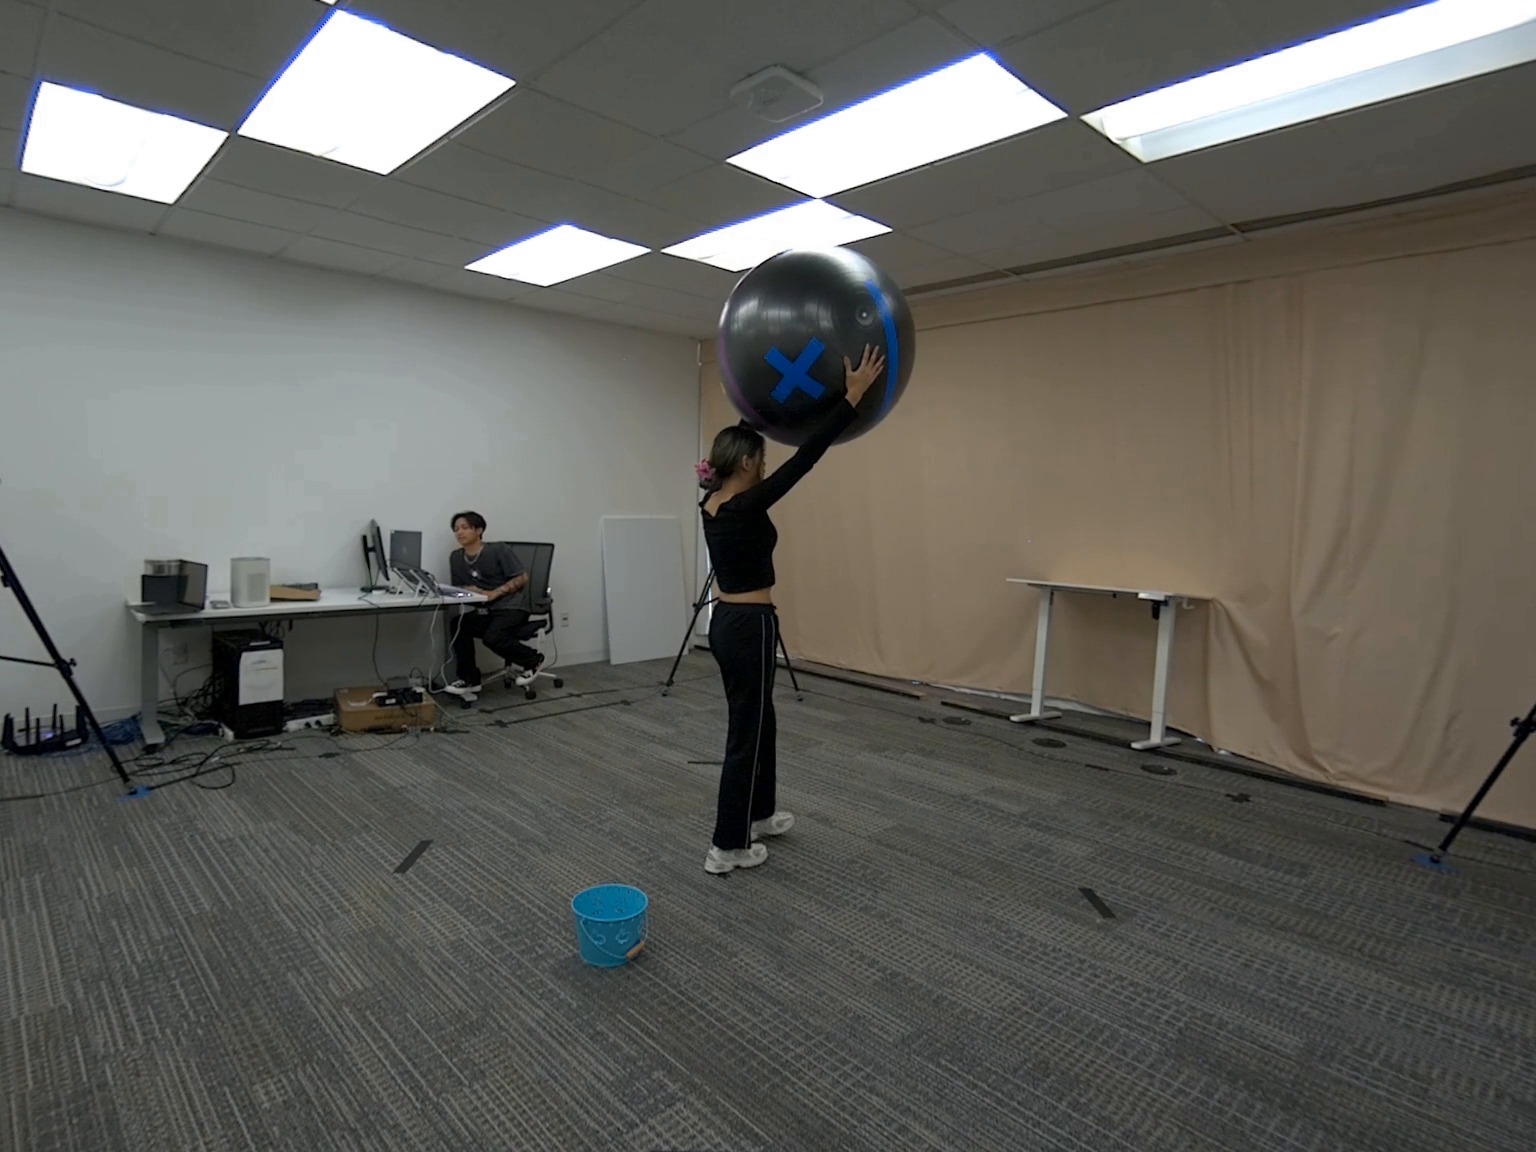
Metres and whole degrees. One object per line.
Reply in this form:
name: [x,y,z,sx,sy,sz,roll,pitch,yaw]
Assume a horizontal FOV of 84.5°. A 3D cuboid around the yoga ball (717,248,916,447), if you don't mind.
yoga ball: [0.175,-0.866,3.219,0.757,0.756,0.761,1,4,-1]
